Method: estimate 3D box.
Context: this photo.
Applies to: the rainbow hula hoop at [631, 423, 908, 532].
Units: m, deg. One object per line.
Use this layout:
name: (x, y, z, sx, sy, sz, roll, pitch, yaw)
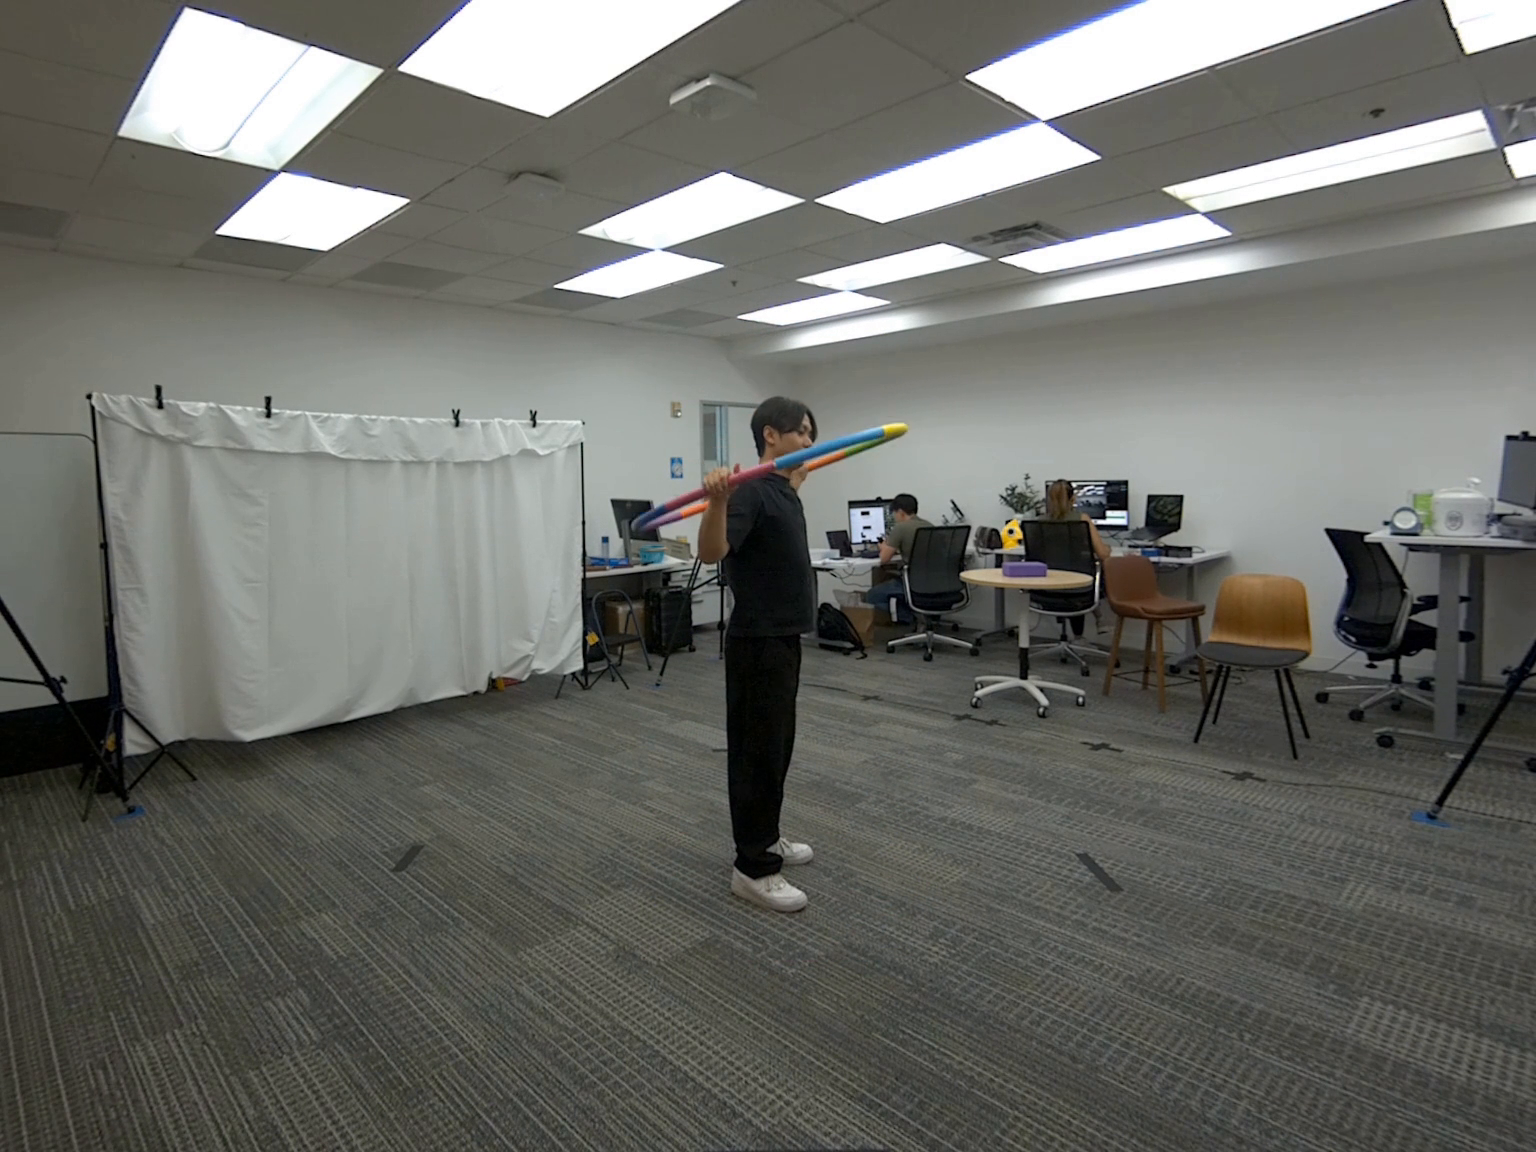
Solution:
rainbow hula hoop: (-0.003, -0.321, 2.889, 0.978, 0.035, 0.980, -20, 3, -1)
